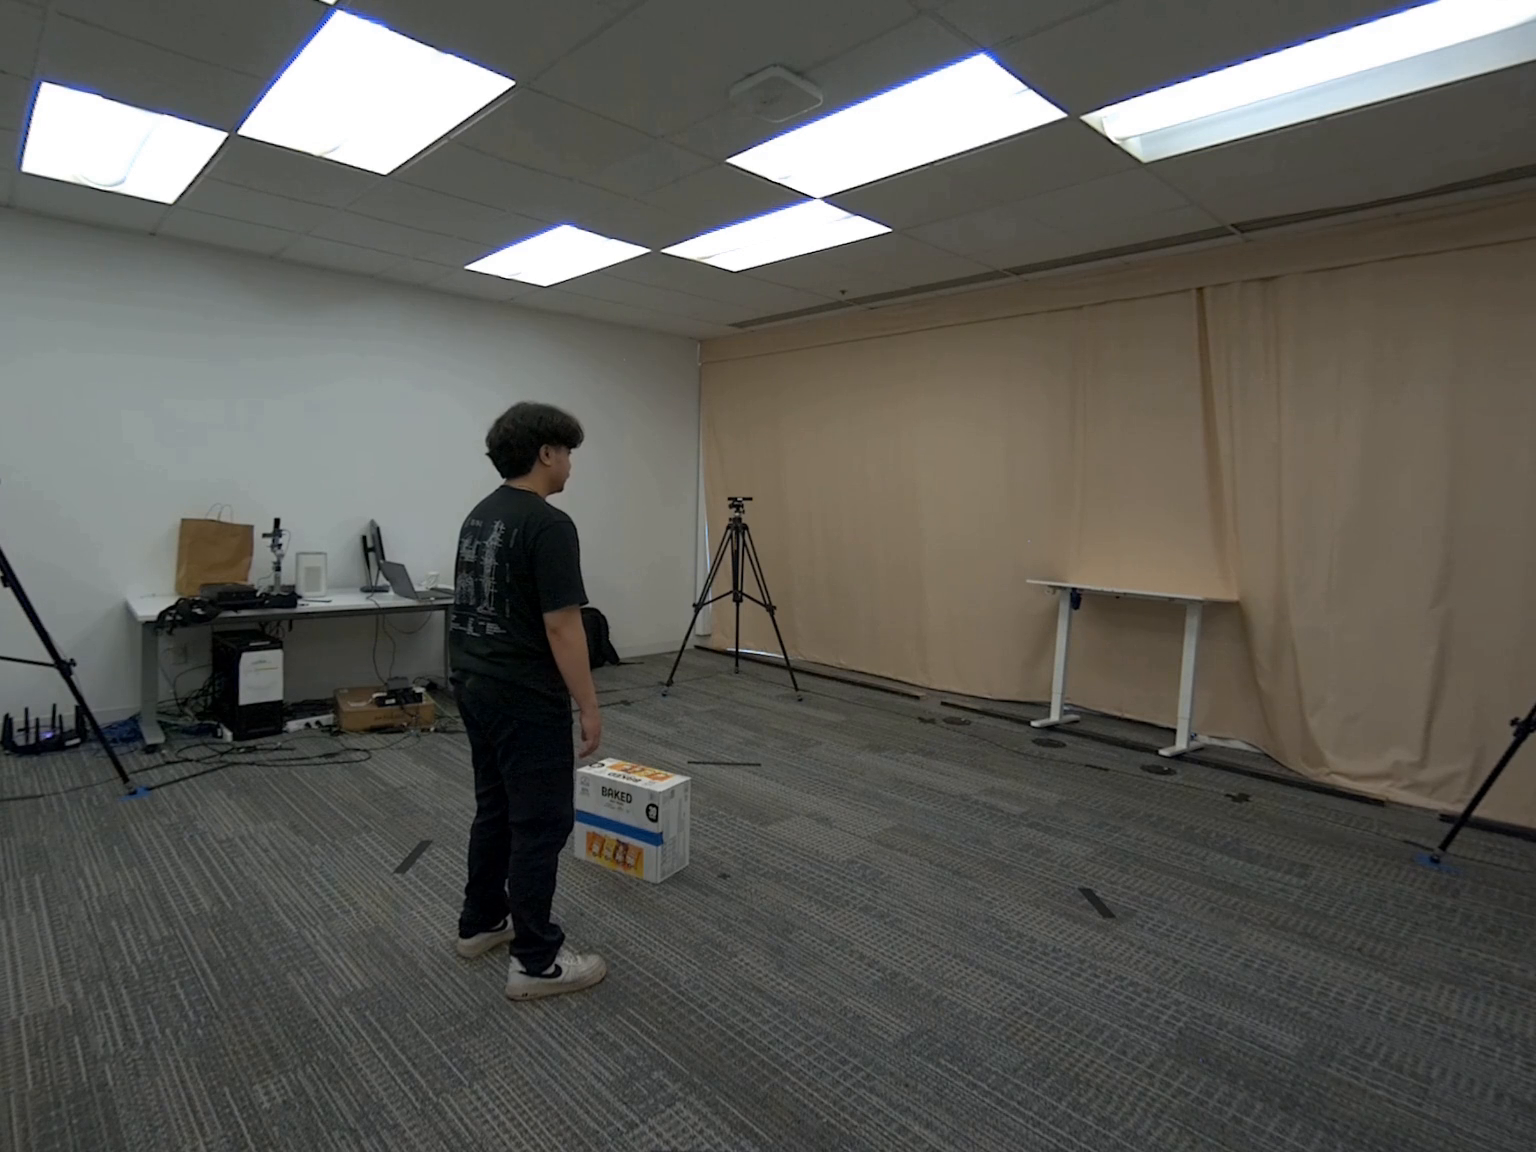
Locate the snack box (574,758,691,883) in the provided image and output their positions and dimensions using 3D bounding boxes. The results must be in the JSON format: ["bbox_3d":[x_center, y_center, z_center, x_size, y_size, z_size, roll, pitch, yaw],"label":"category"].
[{"bbox_3d":[-0.522,0.919,3.207,0.414,0.339,0.201,5,4,31],"label":"snack box"}]
